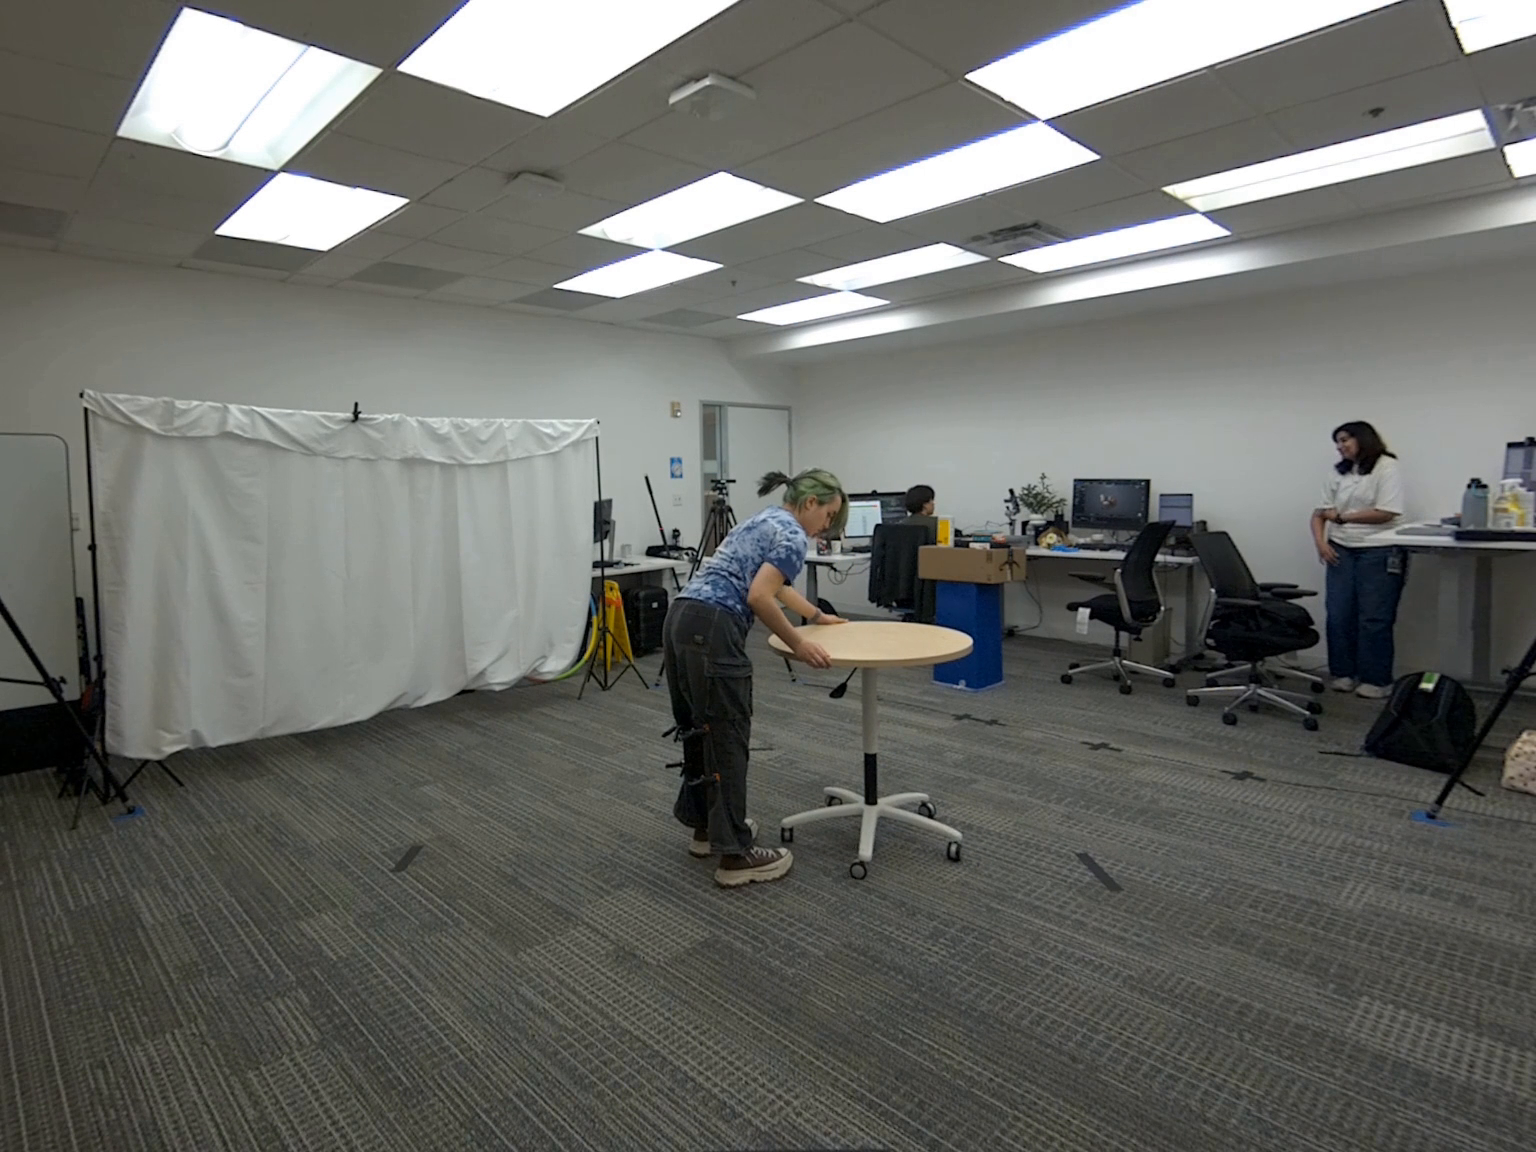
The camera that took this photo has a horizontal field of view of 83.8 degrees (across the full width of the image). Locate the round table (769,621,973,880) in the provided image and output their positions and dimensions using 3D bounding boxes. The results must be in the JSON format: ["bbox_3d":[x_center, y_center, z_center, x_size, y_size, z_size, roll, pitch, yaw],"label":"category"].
[{"bbox_3d":[0.394,0.631,3.285,0.763,0.791,0.768,-1,5,-2],"label":"round table"}]
